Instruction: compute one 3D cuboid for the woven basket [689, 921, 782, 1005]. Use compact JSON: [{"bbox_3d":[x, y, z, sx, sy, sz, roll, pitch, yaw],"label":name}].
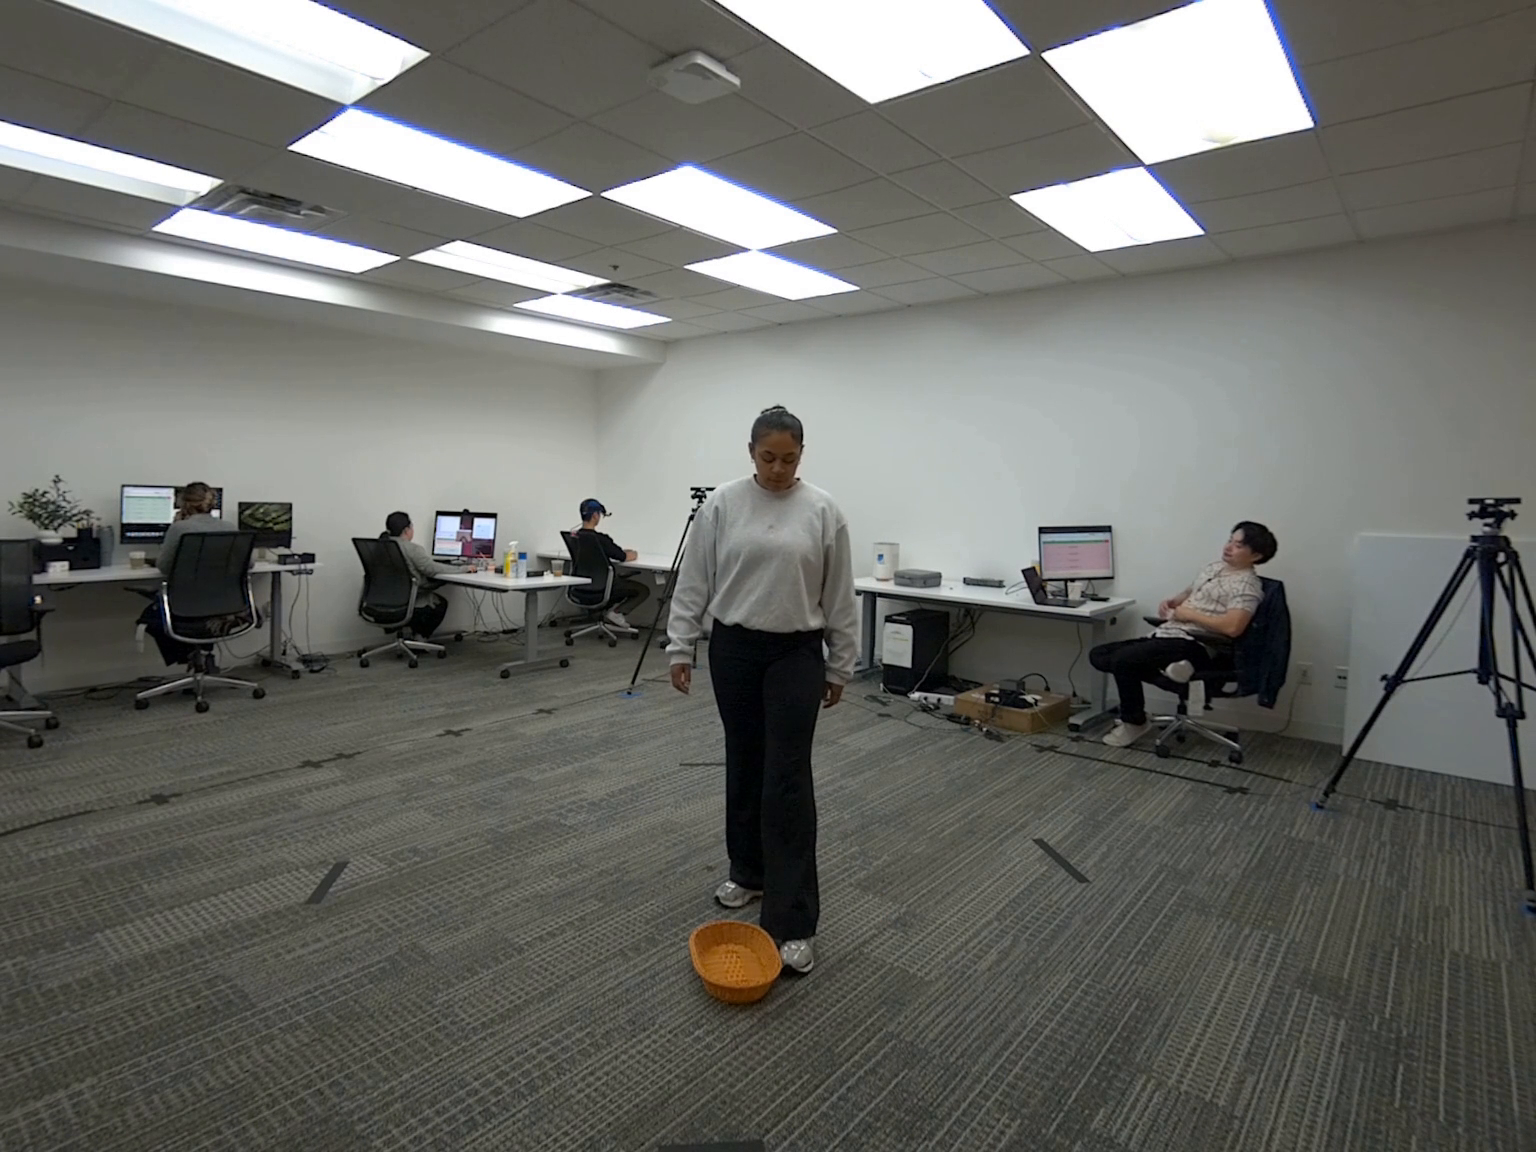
[{"bbox_3d":[-0.082,1.094,2.442,0.250,0.073,0.355,0,6,-10],"label":"woven basket"}]
